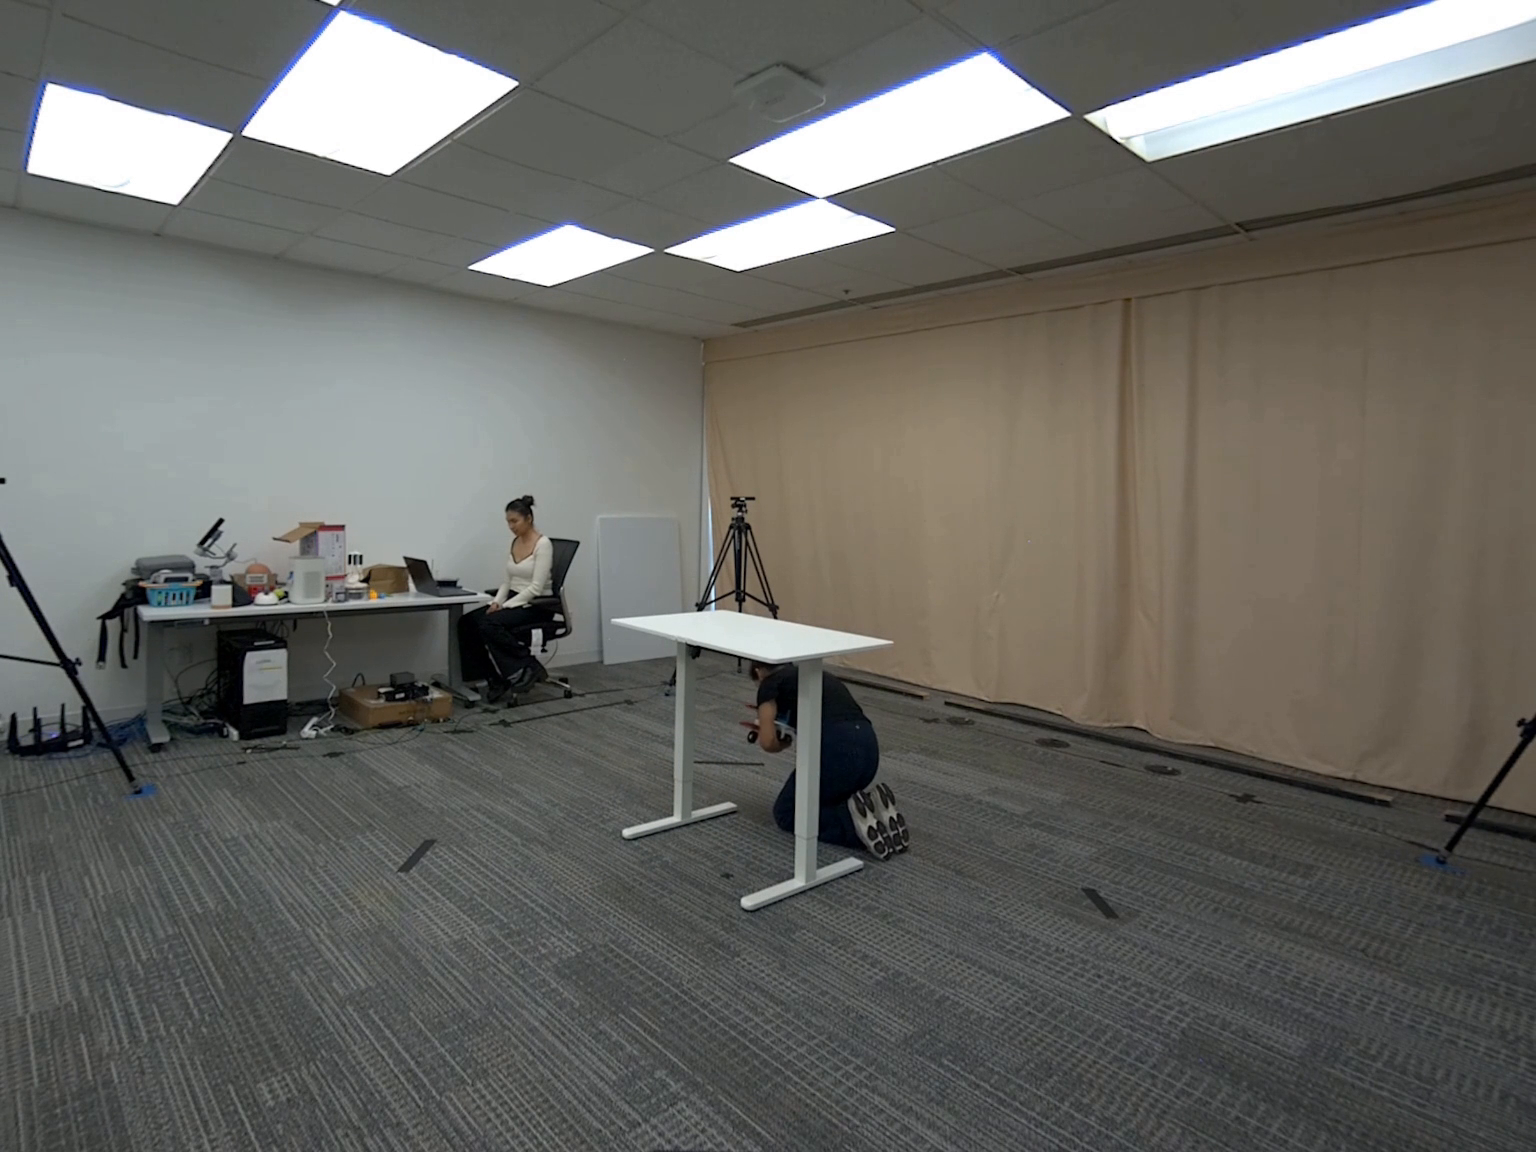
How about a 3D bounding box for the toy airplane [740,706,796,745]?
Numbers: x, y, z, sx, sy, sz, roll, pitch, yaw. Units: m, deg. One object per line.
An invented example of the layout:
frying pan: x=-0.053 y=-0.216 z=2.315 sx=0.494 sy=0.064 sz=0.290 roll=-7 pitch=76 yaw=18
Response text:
toy airplane: x=0.027 y=0.654 z=3.665 sx=0.264 sy=0.158 sz=0.243 roll=-5 pitch=-32 yaw=33
